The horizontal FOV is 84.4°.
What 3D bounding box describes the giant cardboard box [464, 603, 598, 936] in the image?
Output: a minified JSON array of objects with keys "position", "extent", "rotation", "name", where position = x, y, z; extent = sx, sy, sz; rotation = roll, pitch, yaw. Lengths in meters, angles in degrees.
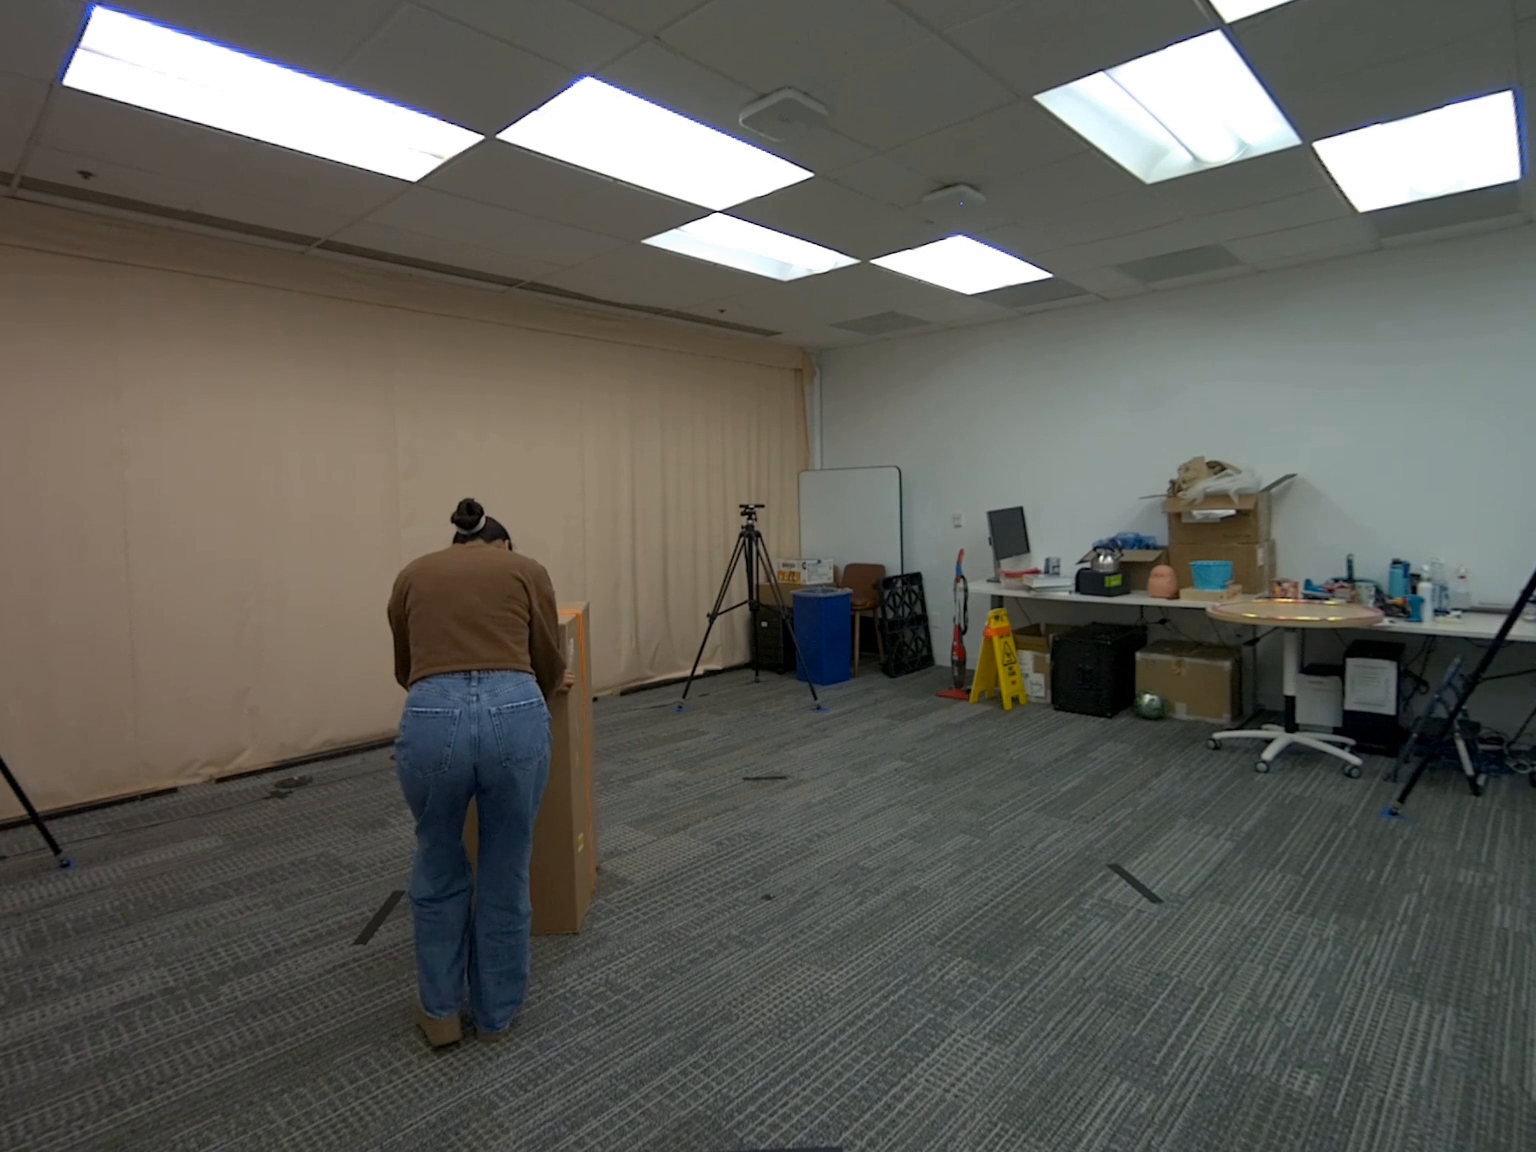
[{"position":[-0.862,0.645,3.008],"extent":[0.426,1.023,0.580],"rotation":[-2,4,-3],"name":"giant cardboard box"}]
